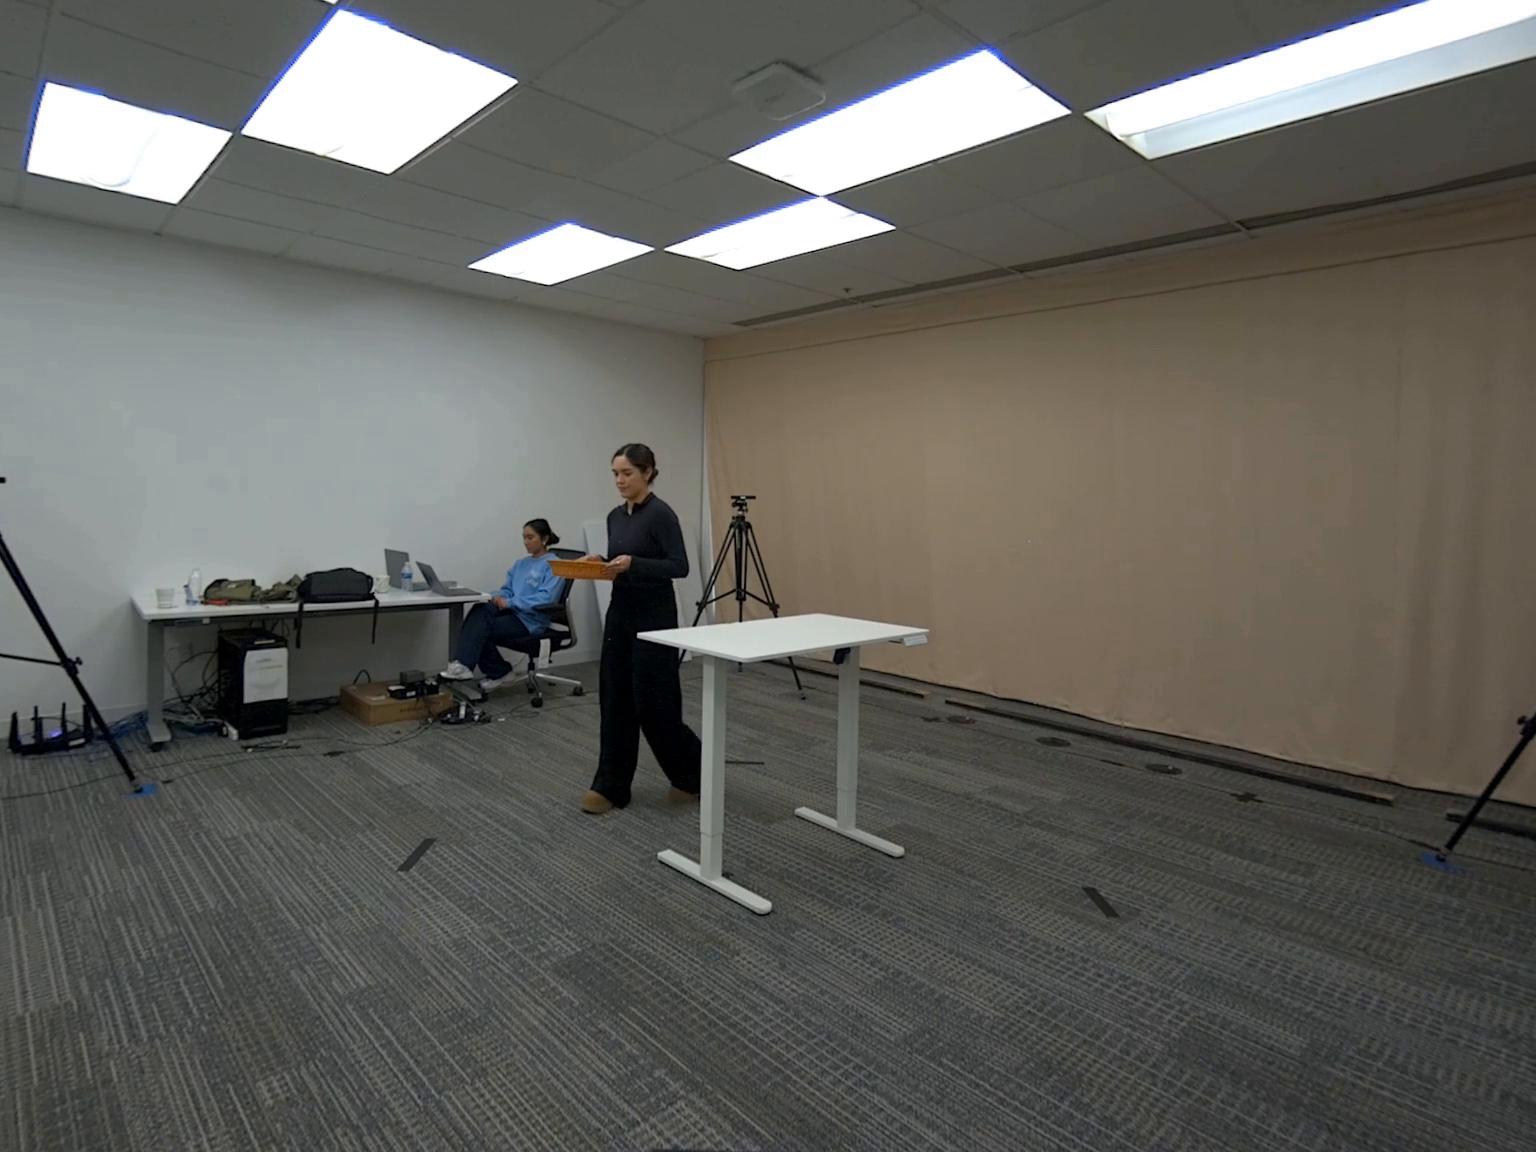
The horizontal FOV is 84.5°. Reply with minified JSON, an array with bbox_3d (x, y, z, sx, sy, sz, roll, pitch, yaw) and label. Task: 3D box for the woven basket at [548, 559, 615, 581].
[{"bbox_3d":[-0.776,-0.017,3.555,0.259,0.073,0.342,6,4,45],"label":"woven basket"}]
